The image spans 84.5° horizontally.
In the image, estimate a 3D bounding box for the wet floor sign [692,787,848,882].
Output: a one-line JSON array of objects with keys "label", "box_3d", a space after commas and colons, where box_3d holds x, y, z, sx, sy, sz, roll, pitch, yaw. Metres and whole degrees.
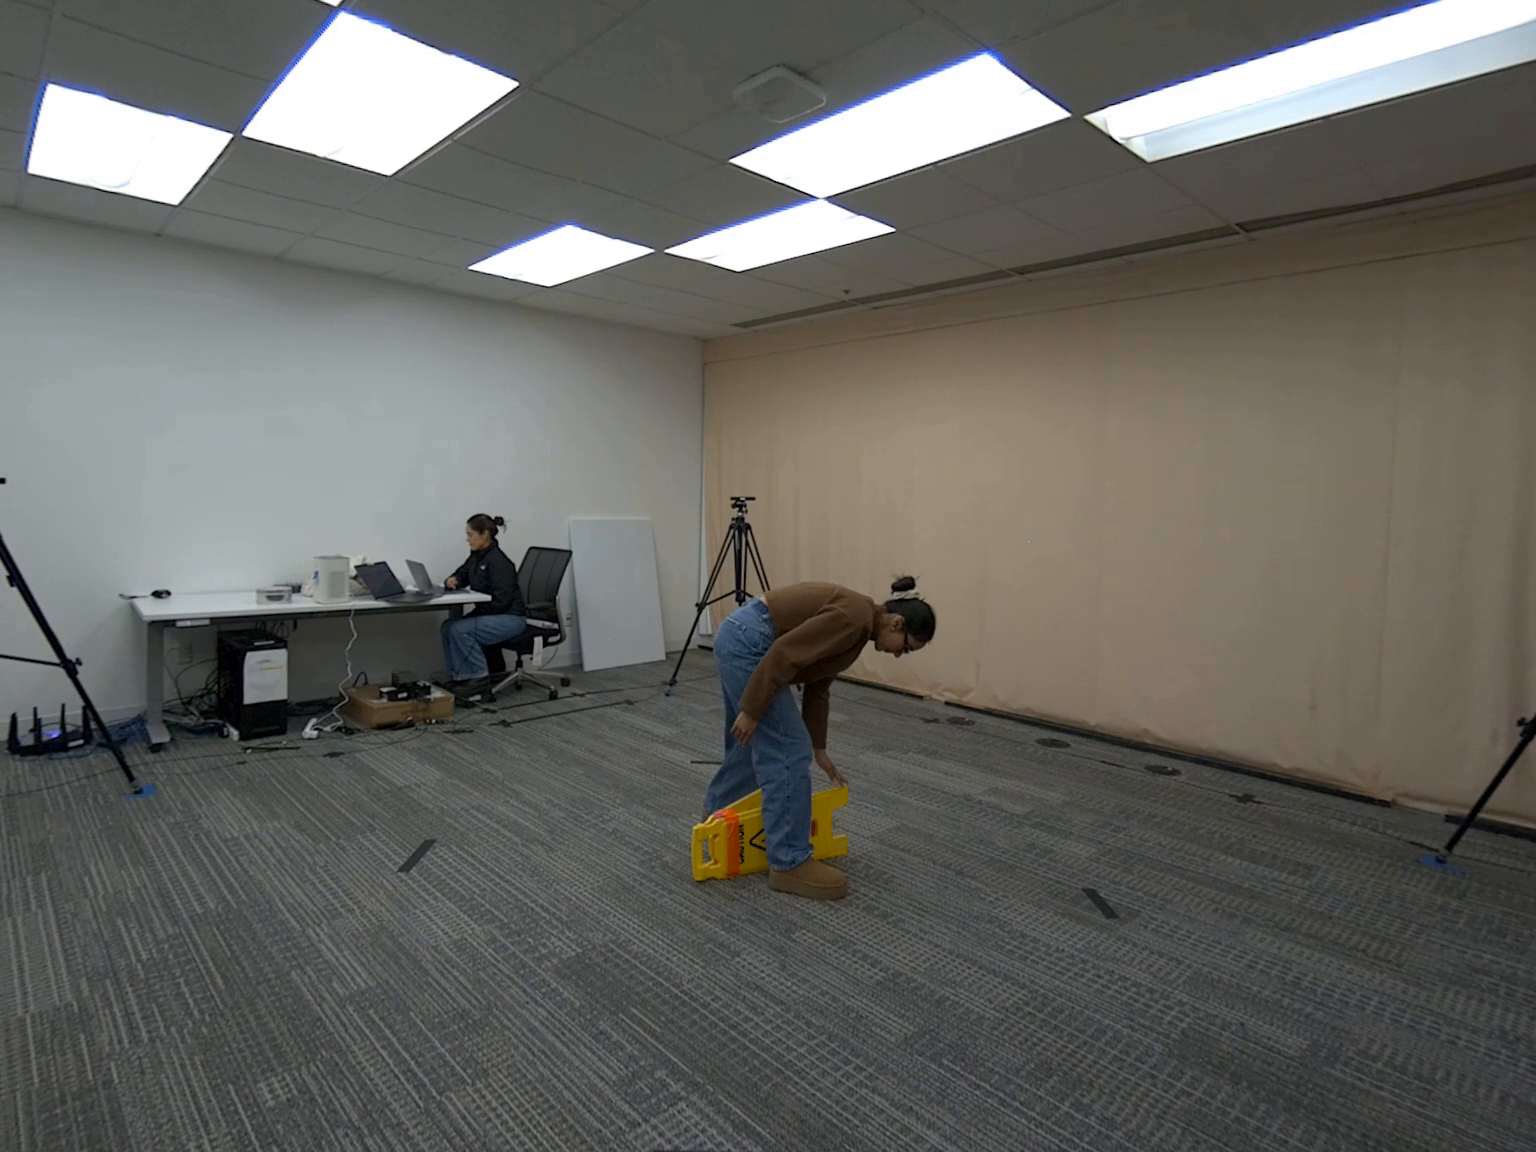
[{"label": "wet floor sign", "box_3d": [-0.020, 0.973, 3.219, 0.632, 0.281, 0.297, -6, 8, -38]}]
